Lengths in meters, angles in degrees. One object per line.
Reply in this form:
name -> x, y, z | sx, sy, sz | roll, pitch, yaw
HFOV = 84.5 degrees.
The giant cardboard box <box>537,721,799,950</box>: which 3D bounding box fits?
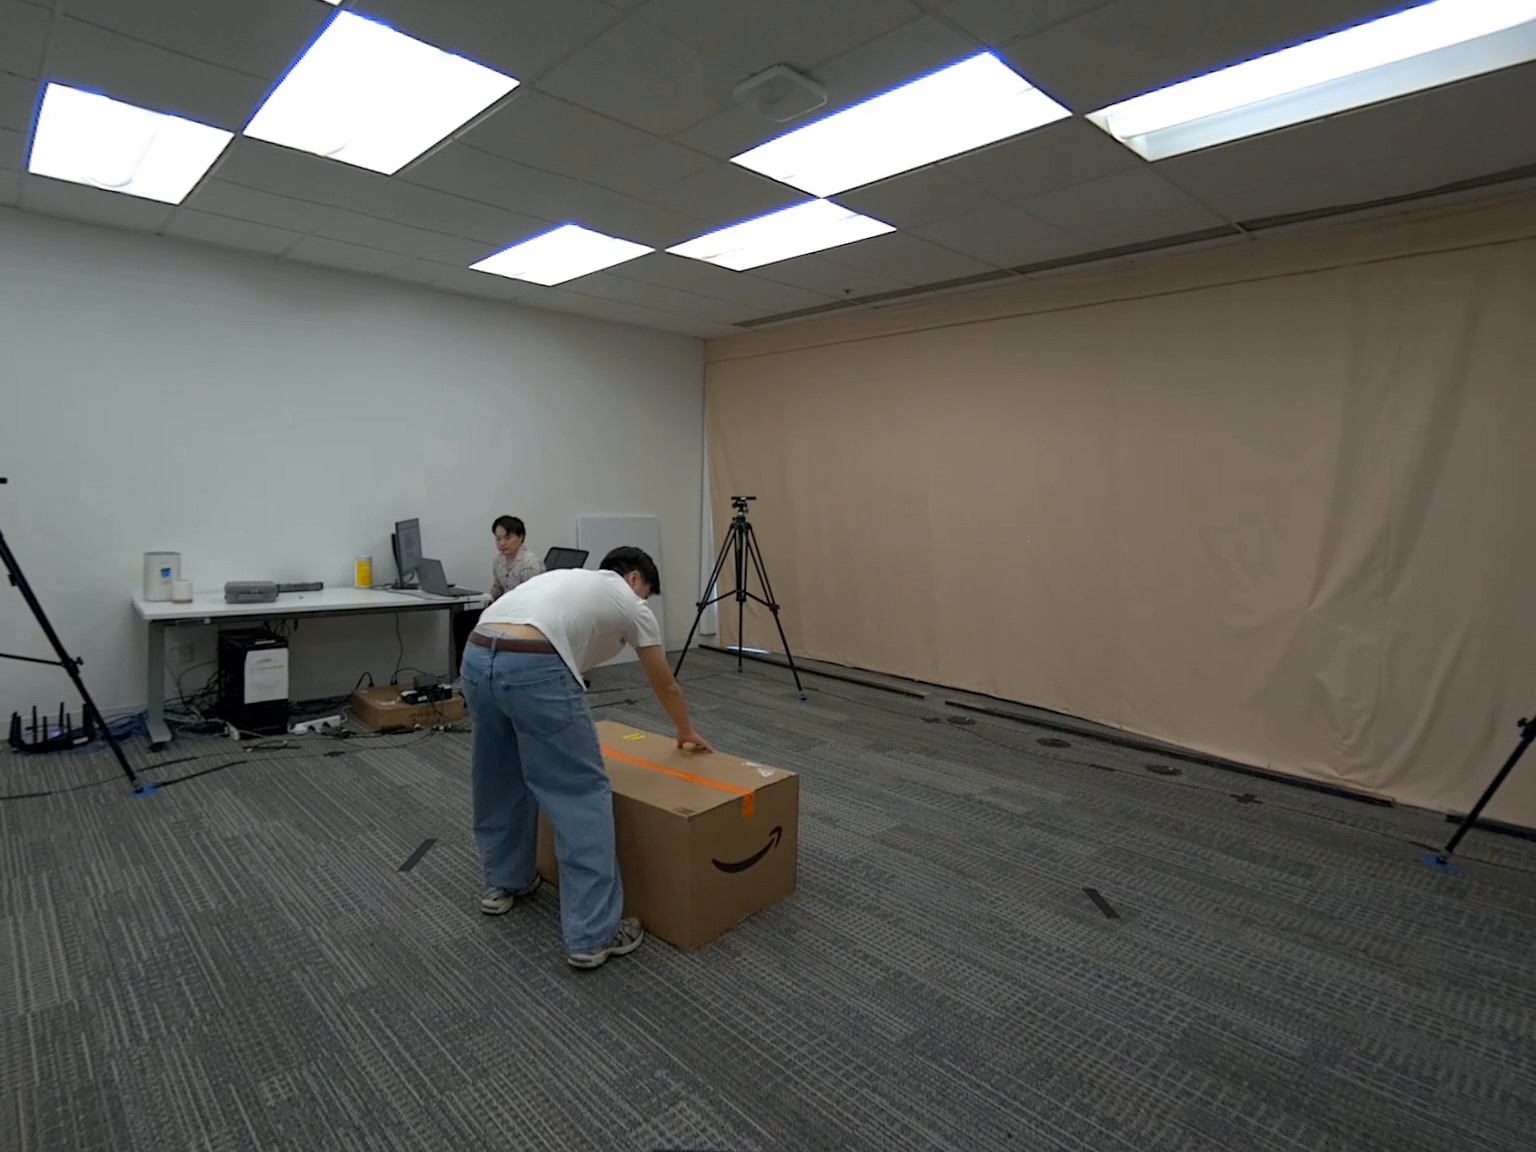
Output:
giant cardboard box -> -0.471, 0.887, 3.091 | 1.052, 0.425, 0.564 | 5, 5, 40
